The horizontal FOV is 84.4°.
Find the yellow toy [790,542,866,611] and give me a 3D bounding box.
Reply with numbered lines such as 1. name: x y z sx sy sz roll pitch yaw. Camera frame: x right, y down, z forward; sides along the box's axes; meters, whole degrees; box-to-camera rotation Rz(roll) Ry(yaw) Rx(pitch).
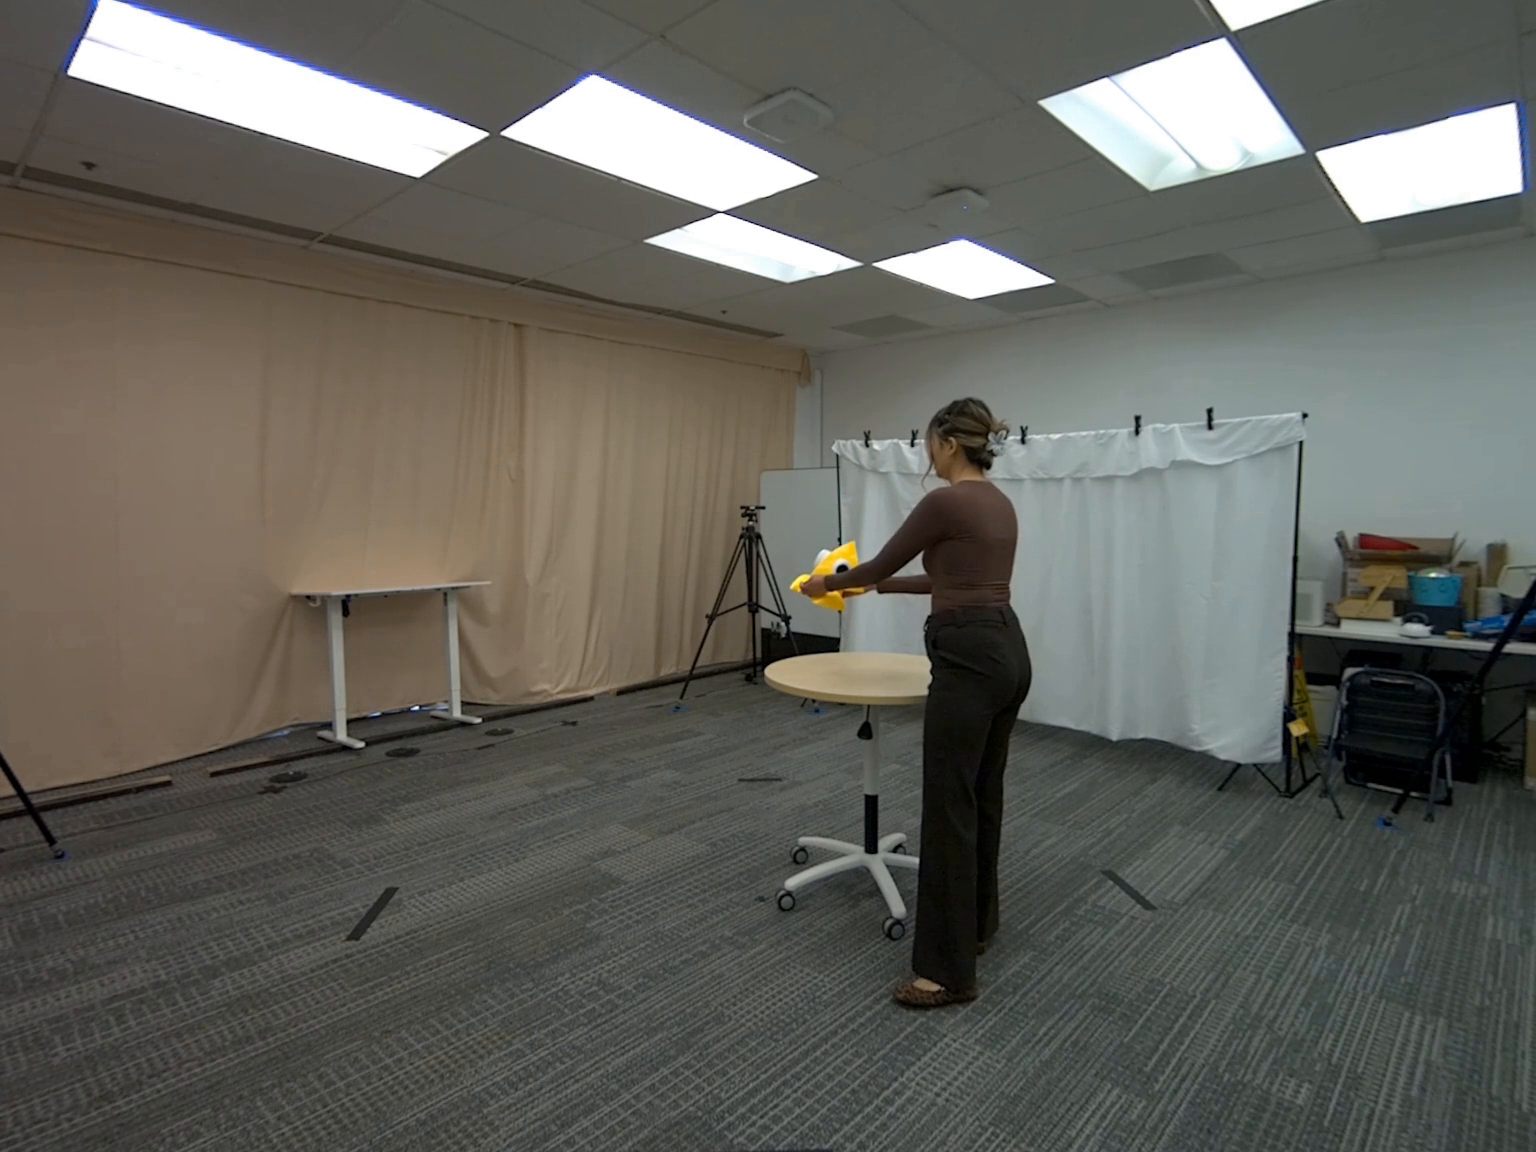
1. yellow toy: 0.227 -0.024 2.966 0.186 0.230 0.212 12 13 -41
